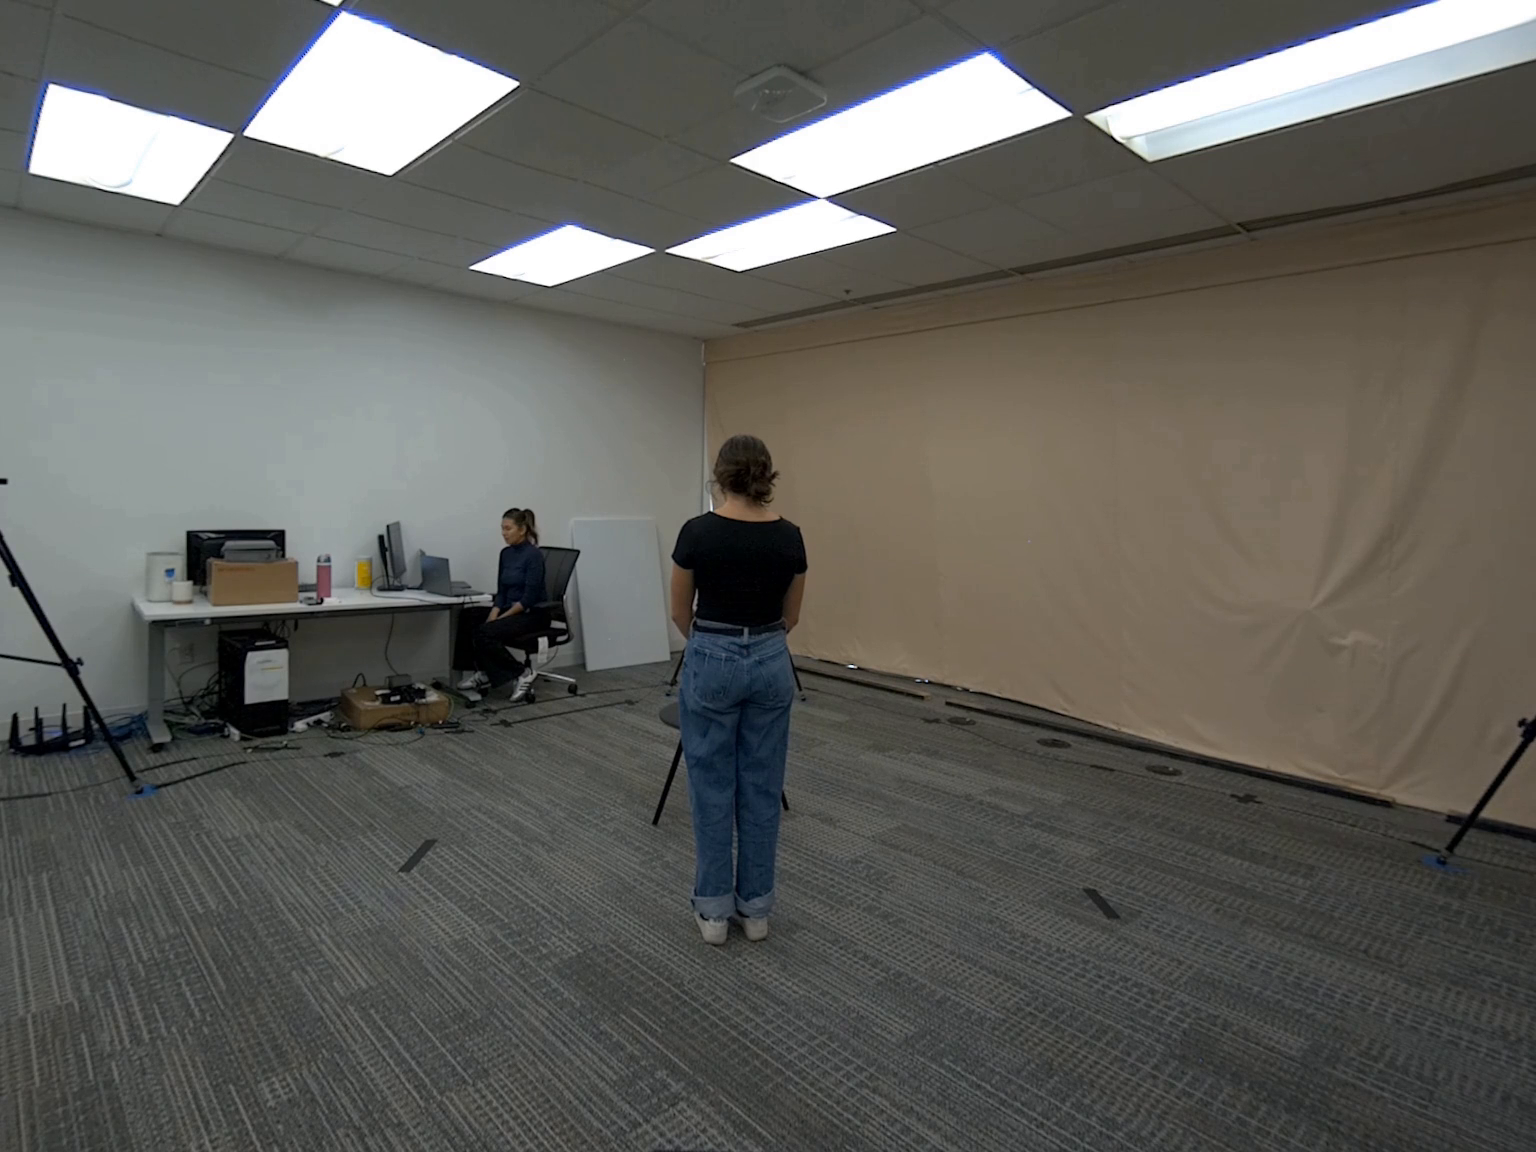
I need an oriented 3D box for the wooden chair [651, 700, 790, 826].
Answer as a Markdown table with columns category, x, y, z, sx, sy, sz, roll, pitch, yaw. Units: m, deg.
| category | x | y | z | sx | sy | sz | roll | pitch | yaw |
| --- | --- | --- | --- | --- | --- | --- | --- | --- | --- |
| wooden chair | -0.192 | 0.635 | 3.649 | 0.487 | 0.878 | 0.513 | 3 | -1 | 24 |
